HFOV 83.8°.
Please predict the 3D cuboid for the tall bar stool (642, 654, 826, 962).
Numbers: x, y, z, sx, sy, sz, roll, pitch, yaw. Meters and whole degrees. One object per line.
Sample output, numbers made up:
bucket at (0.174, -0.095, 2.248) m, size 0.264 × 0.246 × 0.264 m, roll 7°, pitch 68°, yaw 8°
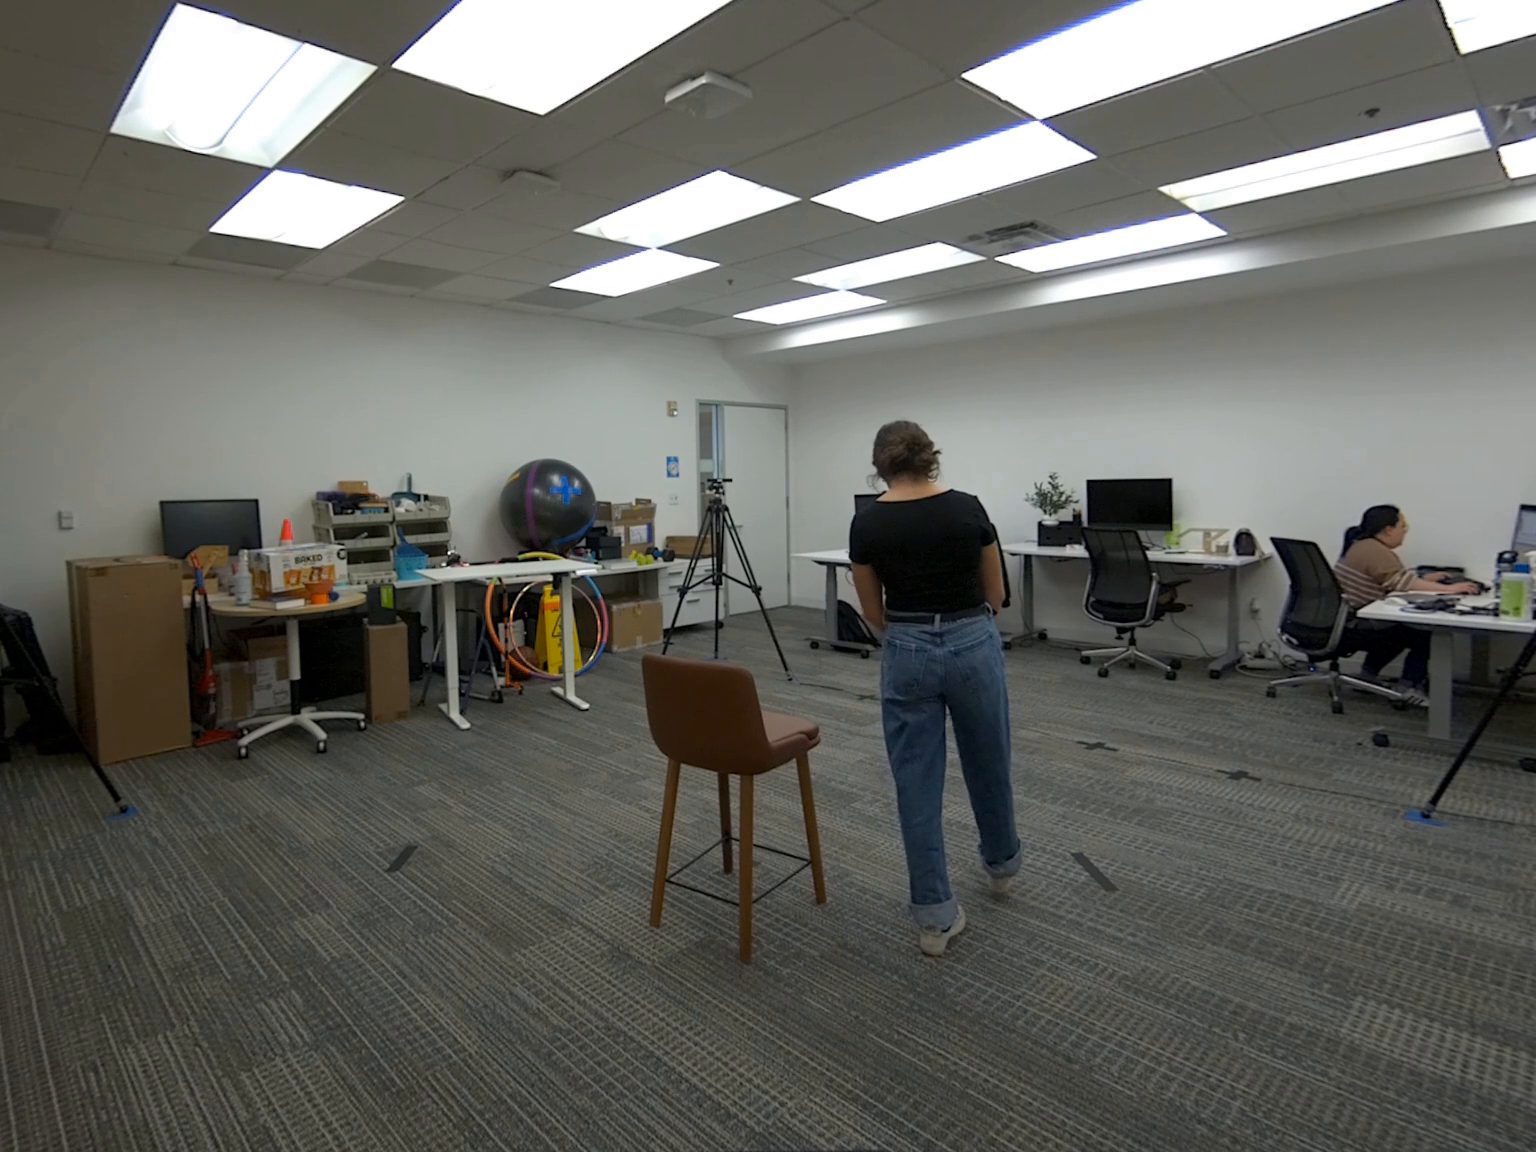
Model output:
tall bar stool at (-0.102, 0.656, 2.723) m, size 0.469 × 0.885 × 0.457 m, roll 2°, pitch 7°, yaw 35°
